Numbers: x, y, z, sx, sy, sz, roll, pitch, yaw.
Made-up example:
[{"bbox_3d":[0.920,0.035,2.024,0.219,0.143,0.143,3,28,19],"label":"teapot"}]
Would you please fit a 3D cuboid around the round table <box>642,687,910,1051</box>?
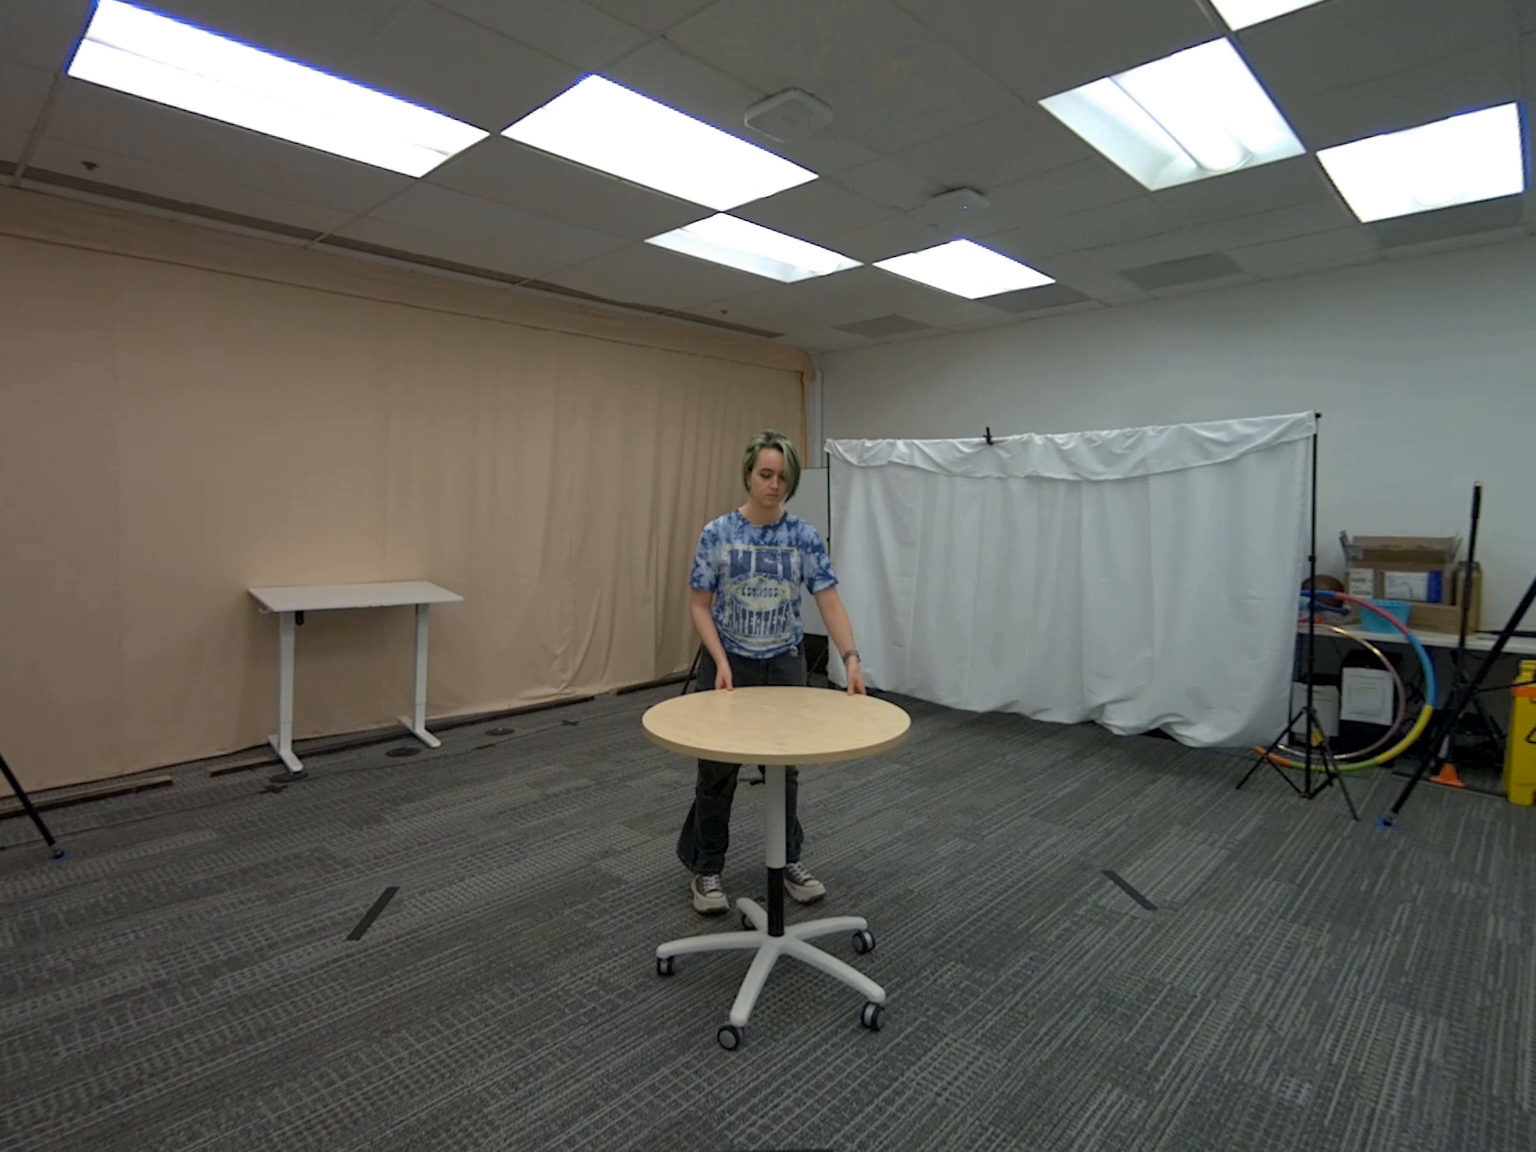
[{"bbox_3d":[0.028,0.799,2.447,0.763,0.792,0.766,0,4,-2],"label":"round table"}]
